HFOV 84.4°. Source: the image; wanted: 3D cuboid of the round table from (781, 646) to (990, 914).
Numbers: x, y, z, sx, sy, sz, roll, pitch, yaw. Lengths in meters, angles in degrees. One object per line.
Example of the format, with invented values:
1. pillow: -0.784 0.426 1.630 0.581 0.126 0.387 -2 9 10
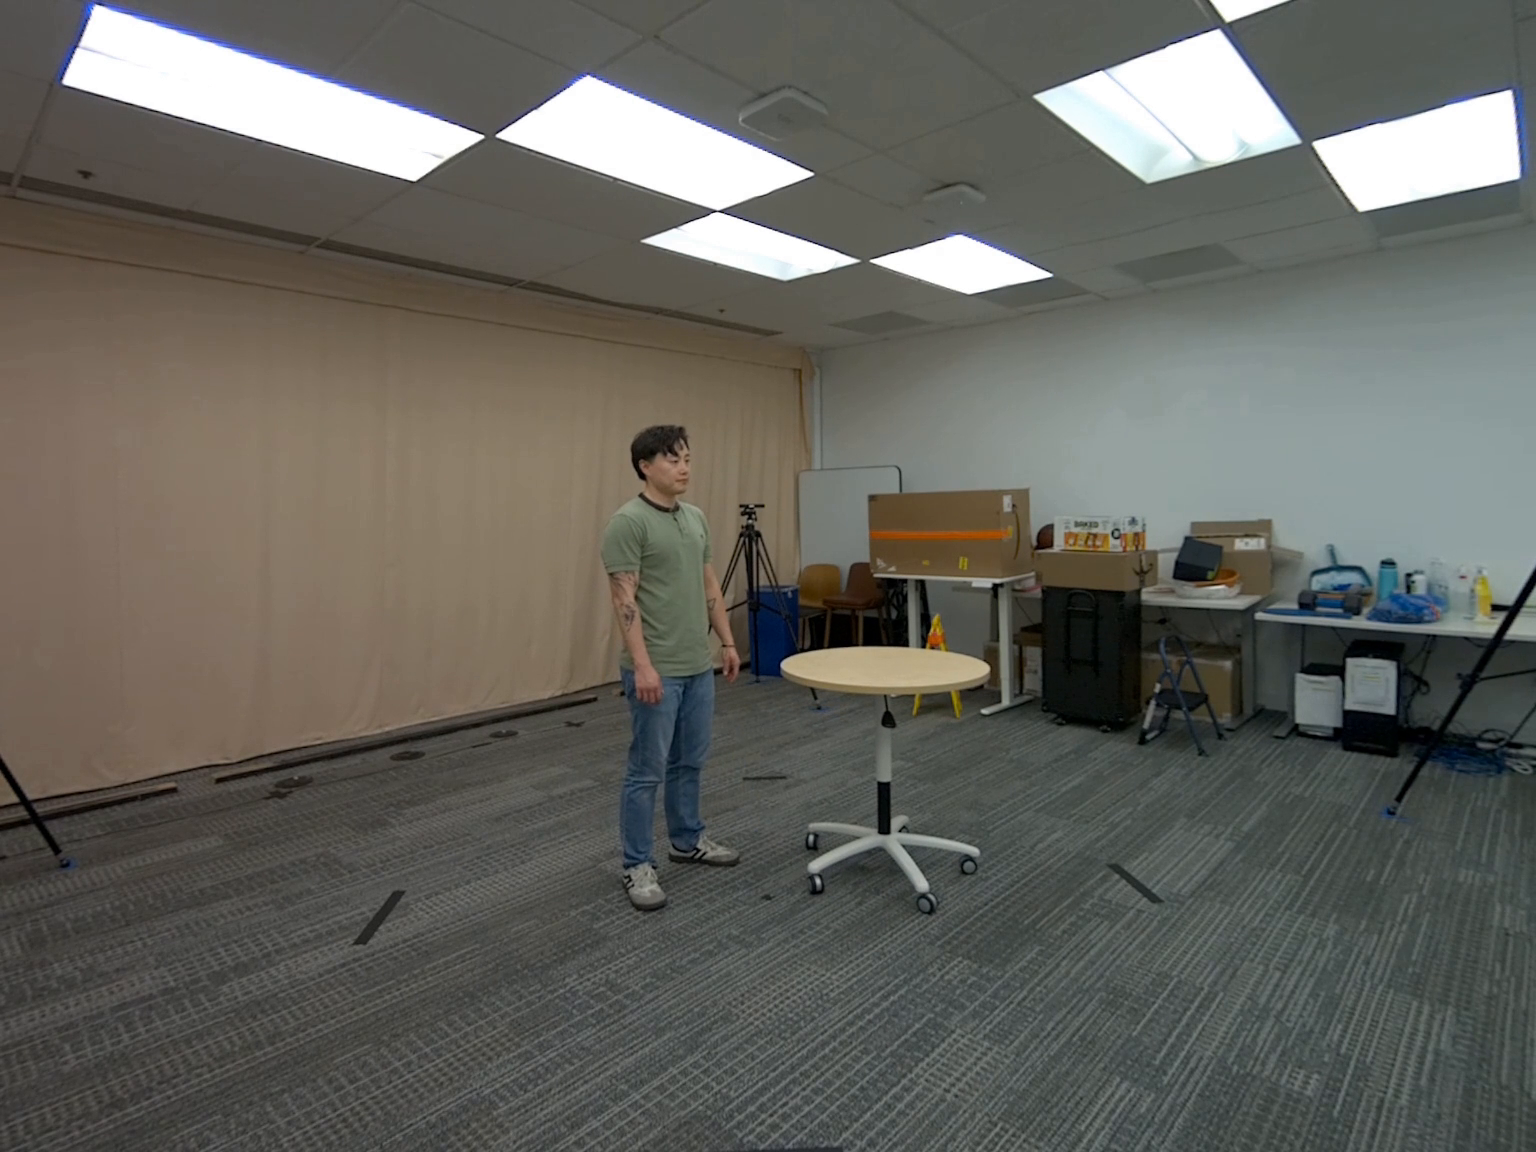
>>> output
1. round table: 0.442 0.727 3.171 0.763 0.792 0.767 -1 4 -2
